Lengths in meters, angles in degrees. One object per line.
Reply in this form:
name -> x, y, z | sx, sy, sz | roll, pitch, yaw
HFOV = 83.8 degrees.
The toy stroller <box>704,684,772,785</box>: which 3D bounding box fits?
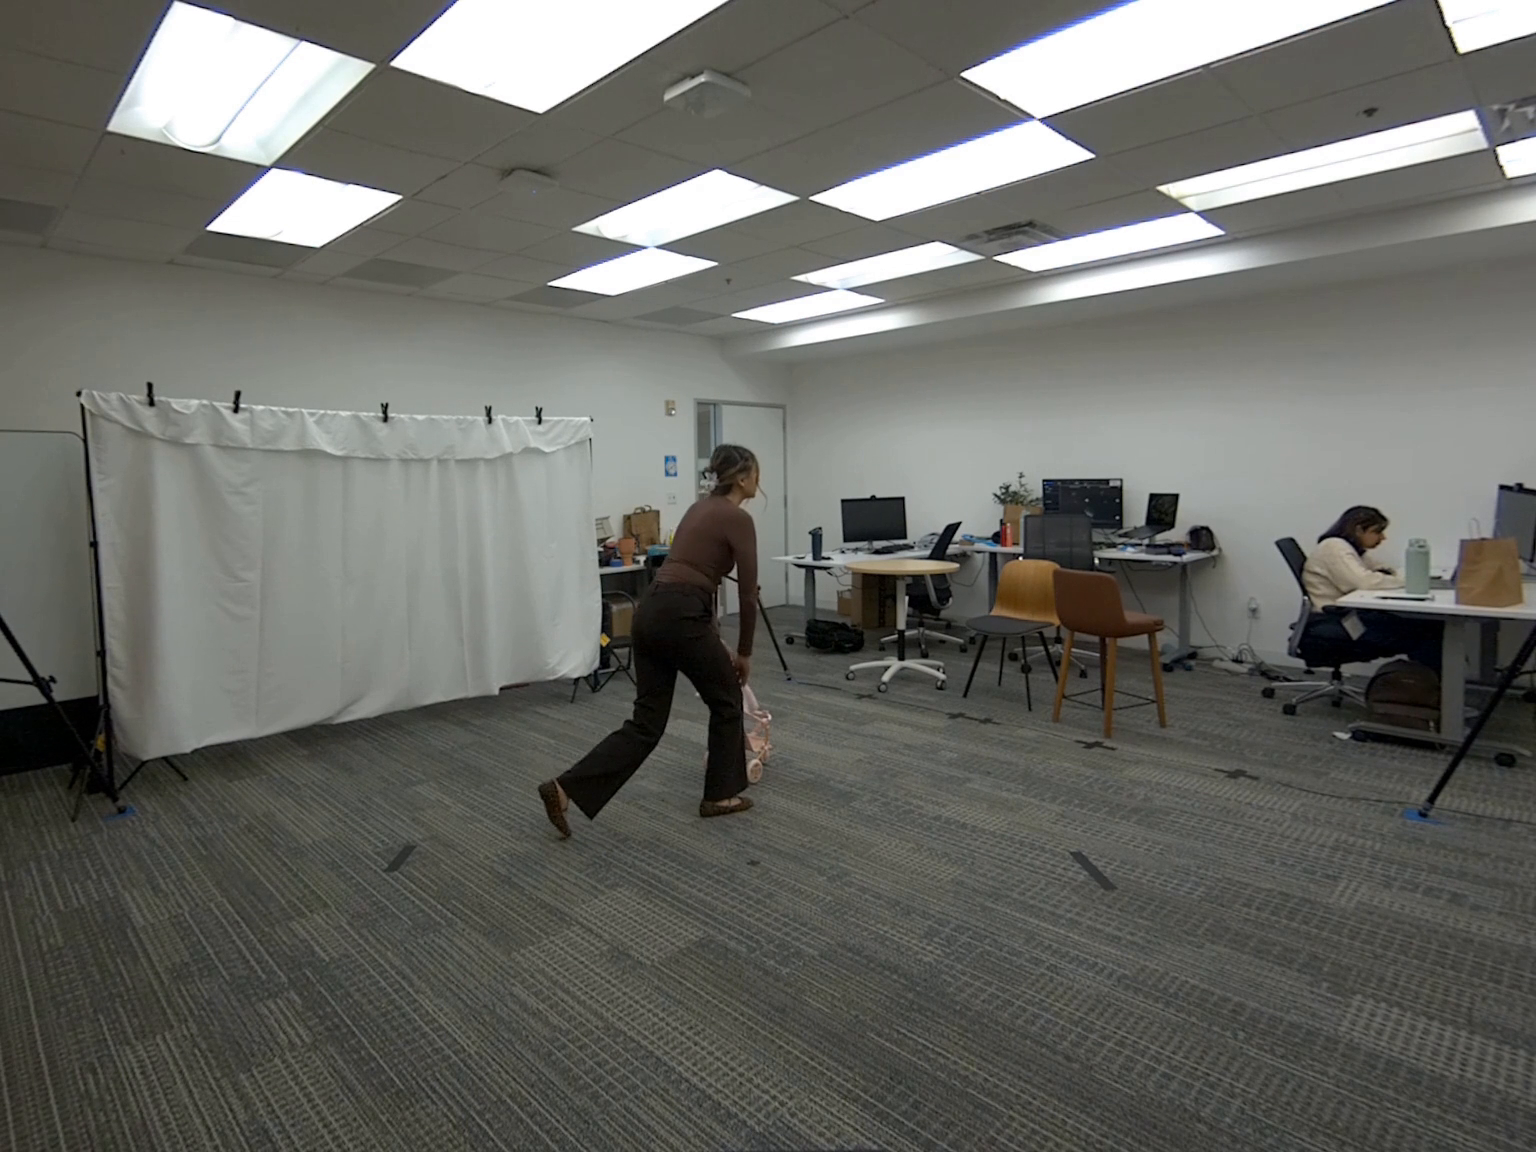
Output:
toy stroller -> -0.129, 0.718, 4.033 | 0.290, 0.525, 0.337 | 3, 23, 42
